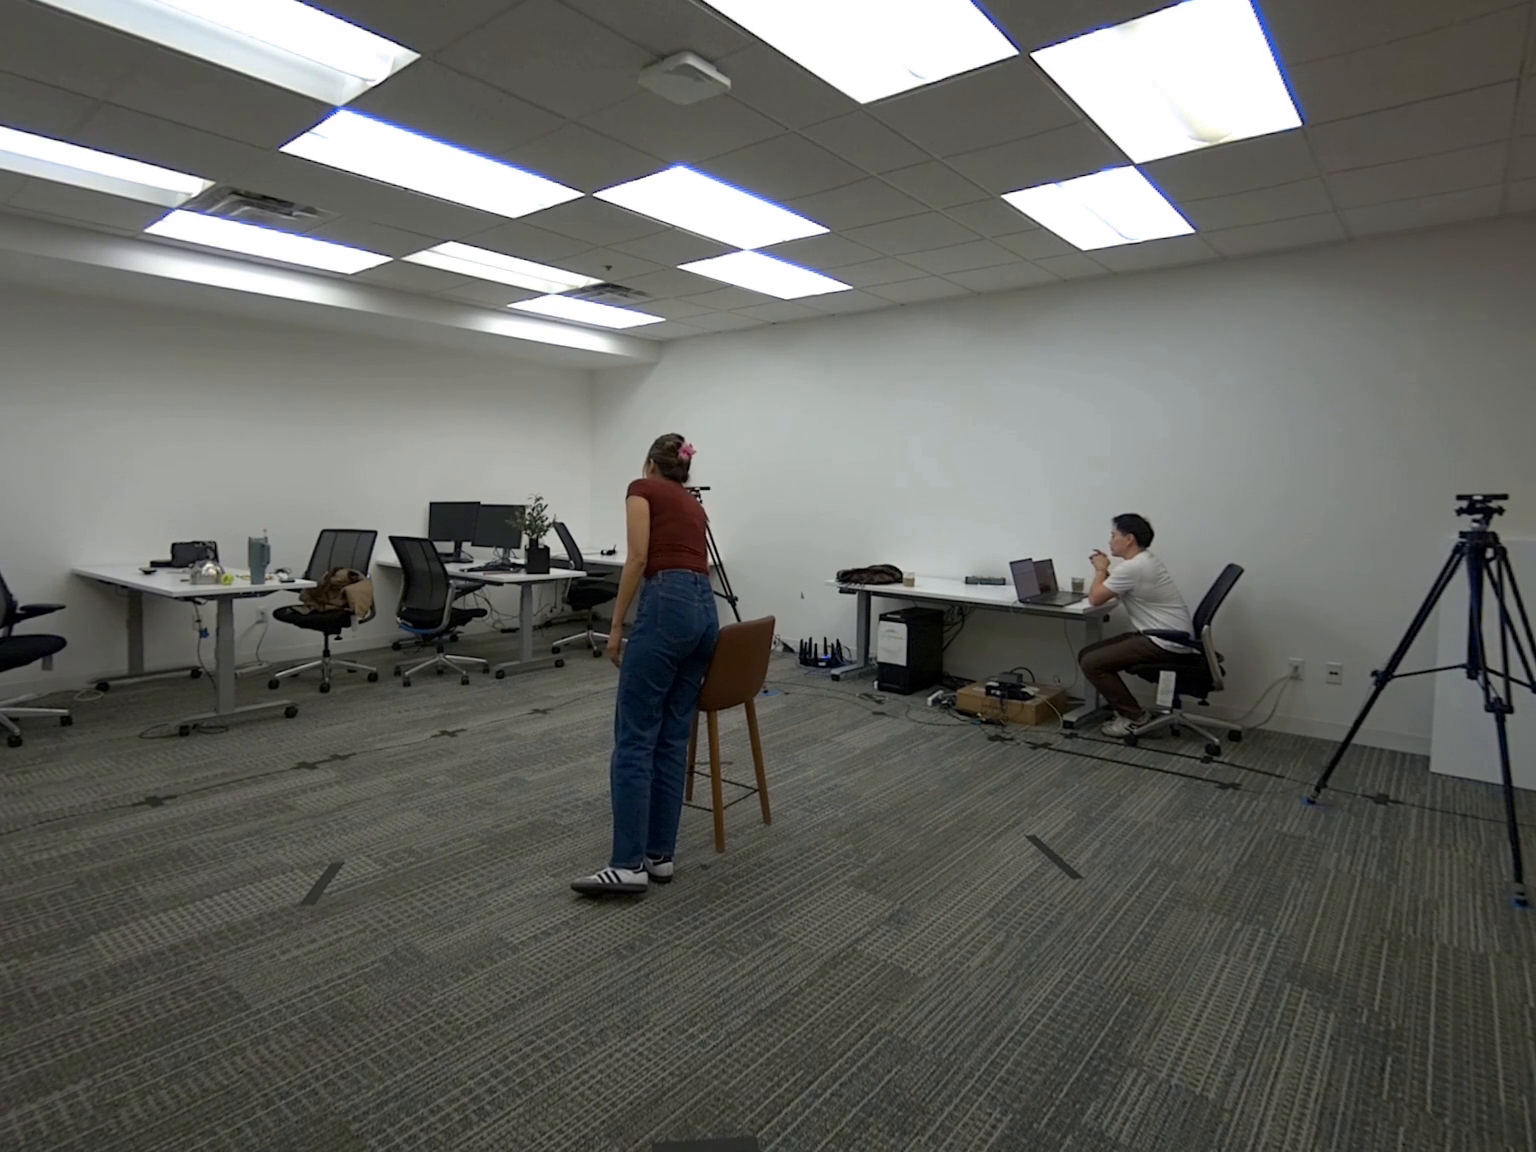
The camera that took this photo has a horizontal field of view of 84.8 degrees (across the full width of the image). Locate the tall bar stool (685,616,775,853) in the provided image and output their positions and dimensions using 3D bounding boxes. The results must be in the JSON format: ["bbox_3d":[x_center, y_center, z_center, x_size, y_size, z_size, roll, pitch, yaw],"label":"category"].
[{"bbox_3d":[-0.267,0.595,3.506,0.482,0.887,0.444,5,4,33],"label":"tall bar stool"}]
